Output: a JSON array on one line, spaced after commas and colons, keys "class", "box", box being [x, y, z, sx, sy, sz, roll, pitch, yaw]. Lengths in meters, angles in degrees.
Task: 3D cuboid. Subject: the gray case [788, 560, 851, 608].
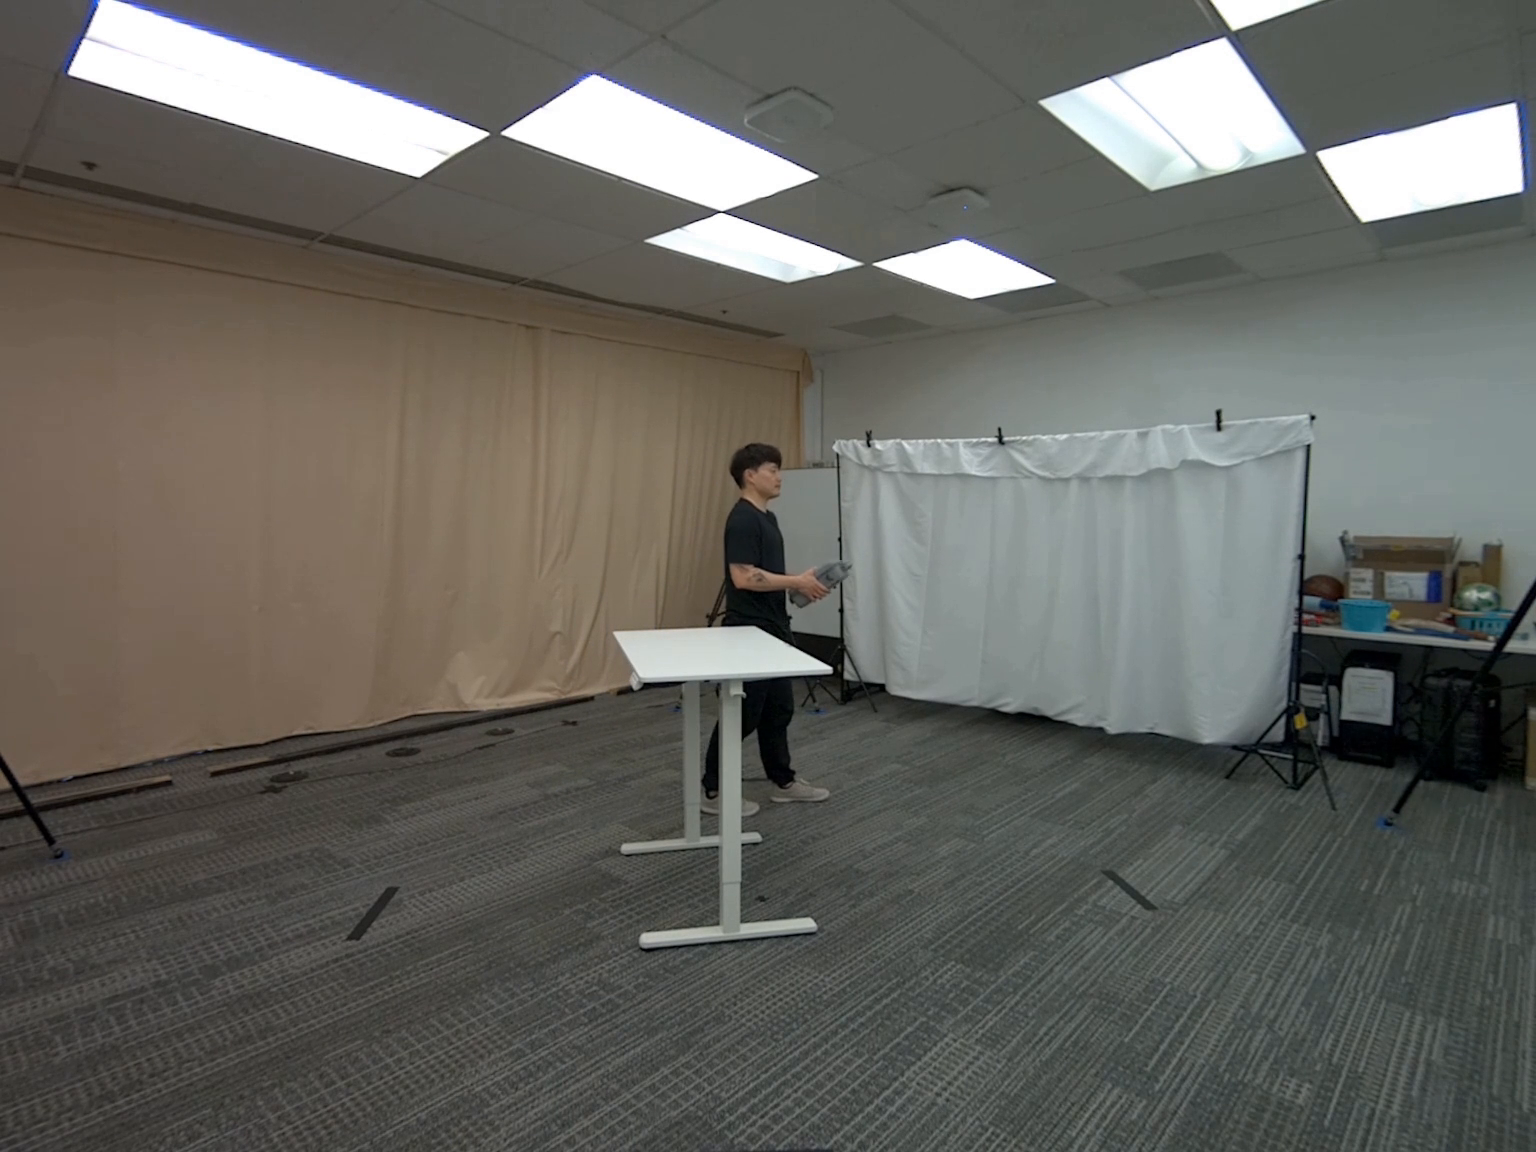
[{"class": "gray case", "box": [0.239, 0.025, 3.774, 0.262, 0.105, 0.253, -35, -6, 14]}]
